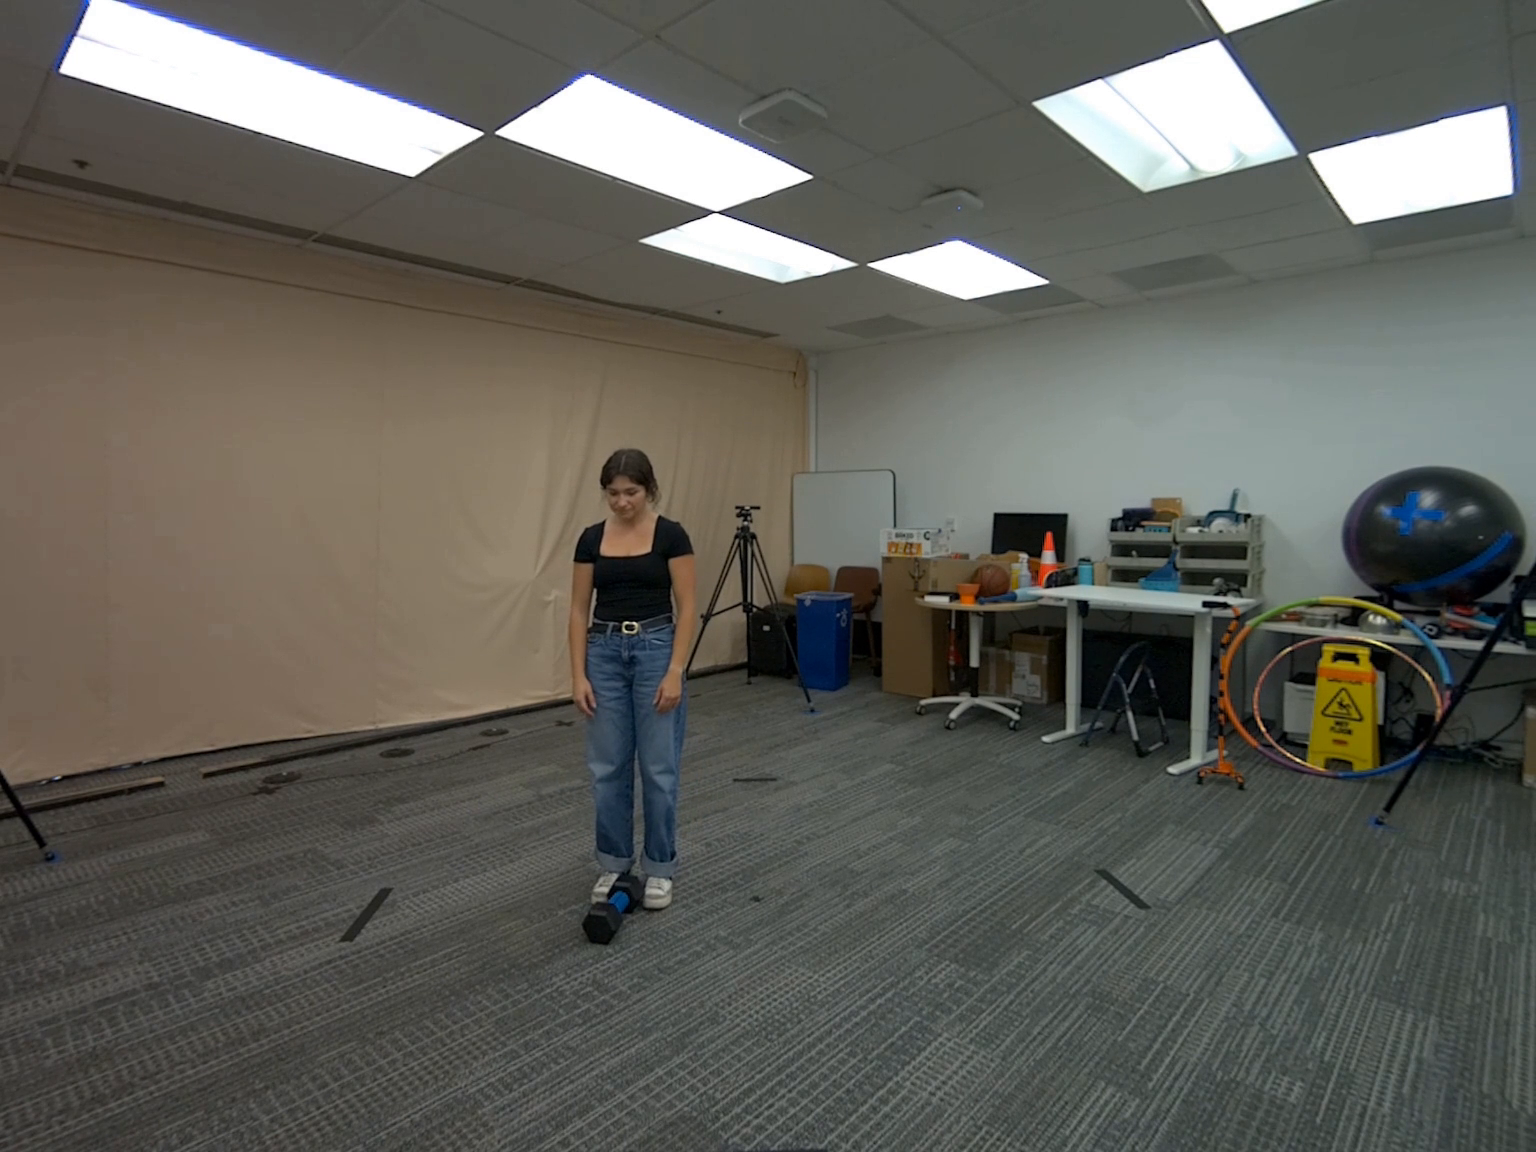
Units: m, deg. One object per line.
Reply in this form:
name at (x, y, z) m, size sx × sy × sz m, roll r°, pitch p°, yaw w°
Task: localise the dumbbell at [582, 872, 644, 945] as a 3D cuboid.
dumbbell at (-0.515, 1.112, 2.804) m, size 0.109 × 0.123 × 0.290 m, roll -29°, pitch -2°, yaw 12°
